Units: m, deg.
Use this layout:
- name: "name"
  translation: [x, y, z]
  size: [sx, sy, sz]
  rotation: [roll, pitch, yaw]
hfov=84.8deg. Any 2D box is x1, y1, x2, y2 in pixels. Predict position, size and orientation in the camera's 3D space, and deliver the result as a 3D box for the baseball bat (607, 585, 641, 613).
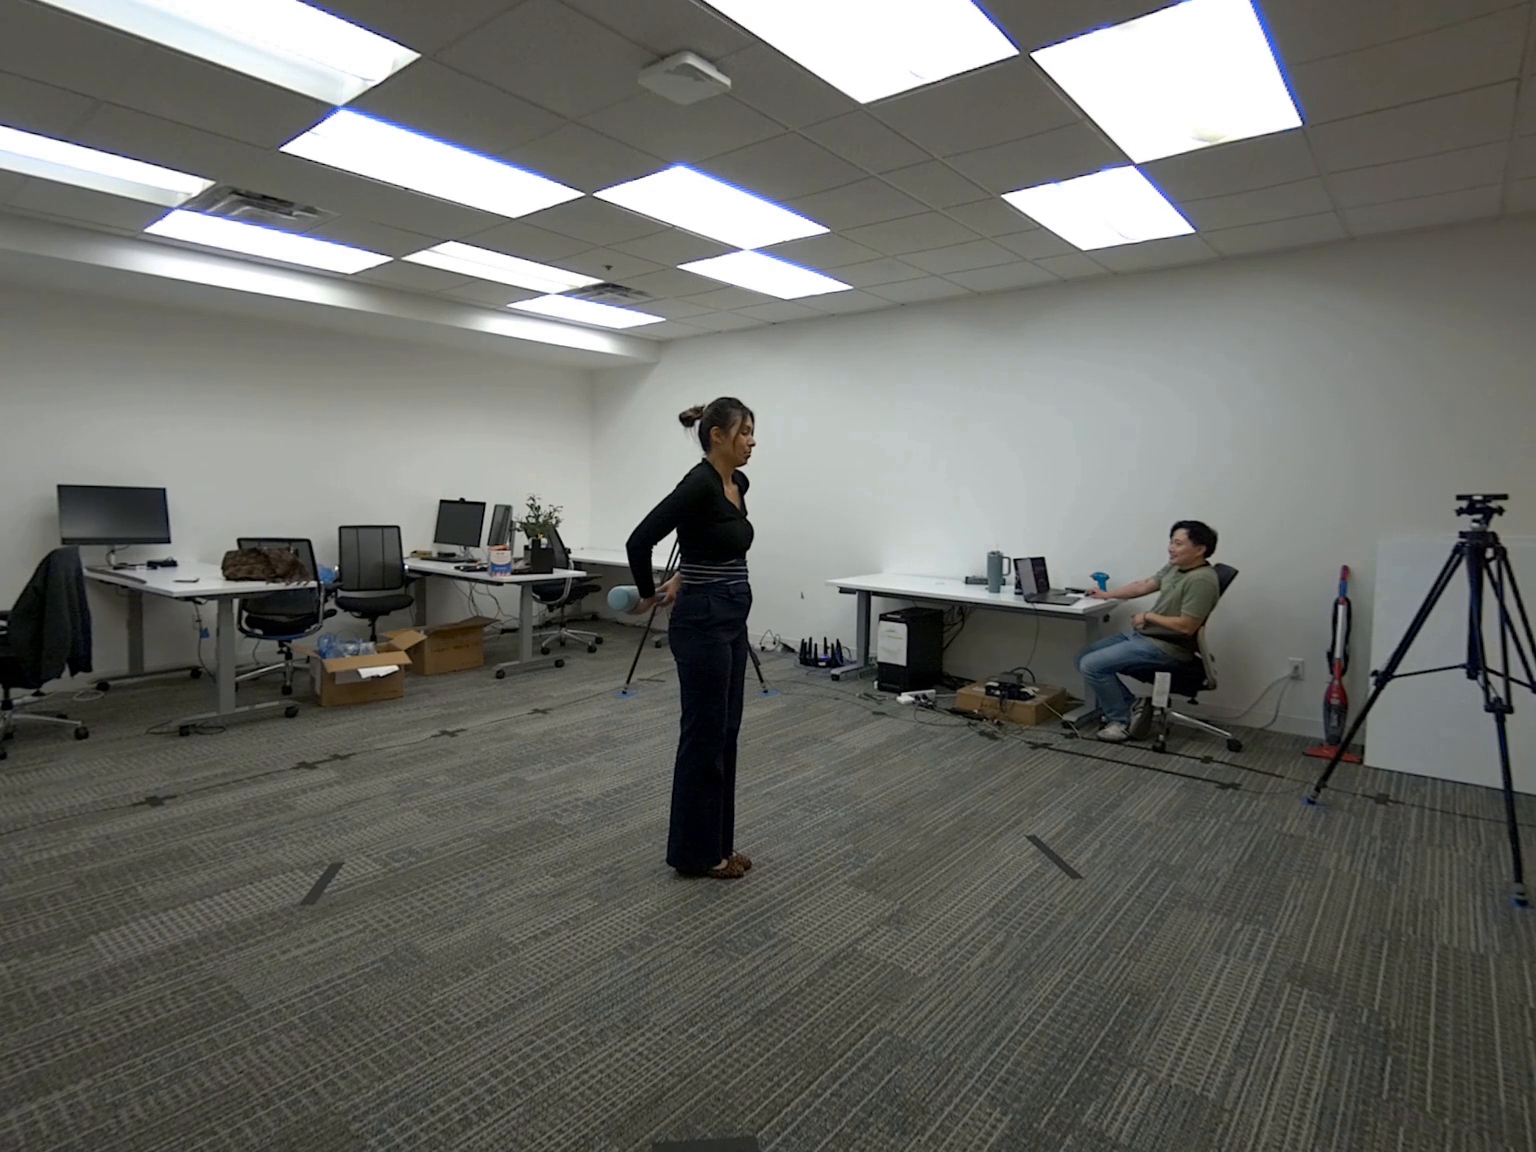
- name: "baseball bat"
  translation: [-0.474, 0.076, 3.227]
  size: [0.091, 0.089, 0.532]
  rotation: [2, 1, 17]
